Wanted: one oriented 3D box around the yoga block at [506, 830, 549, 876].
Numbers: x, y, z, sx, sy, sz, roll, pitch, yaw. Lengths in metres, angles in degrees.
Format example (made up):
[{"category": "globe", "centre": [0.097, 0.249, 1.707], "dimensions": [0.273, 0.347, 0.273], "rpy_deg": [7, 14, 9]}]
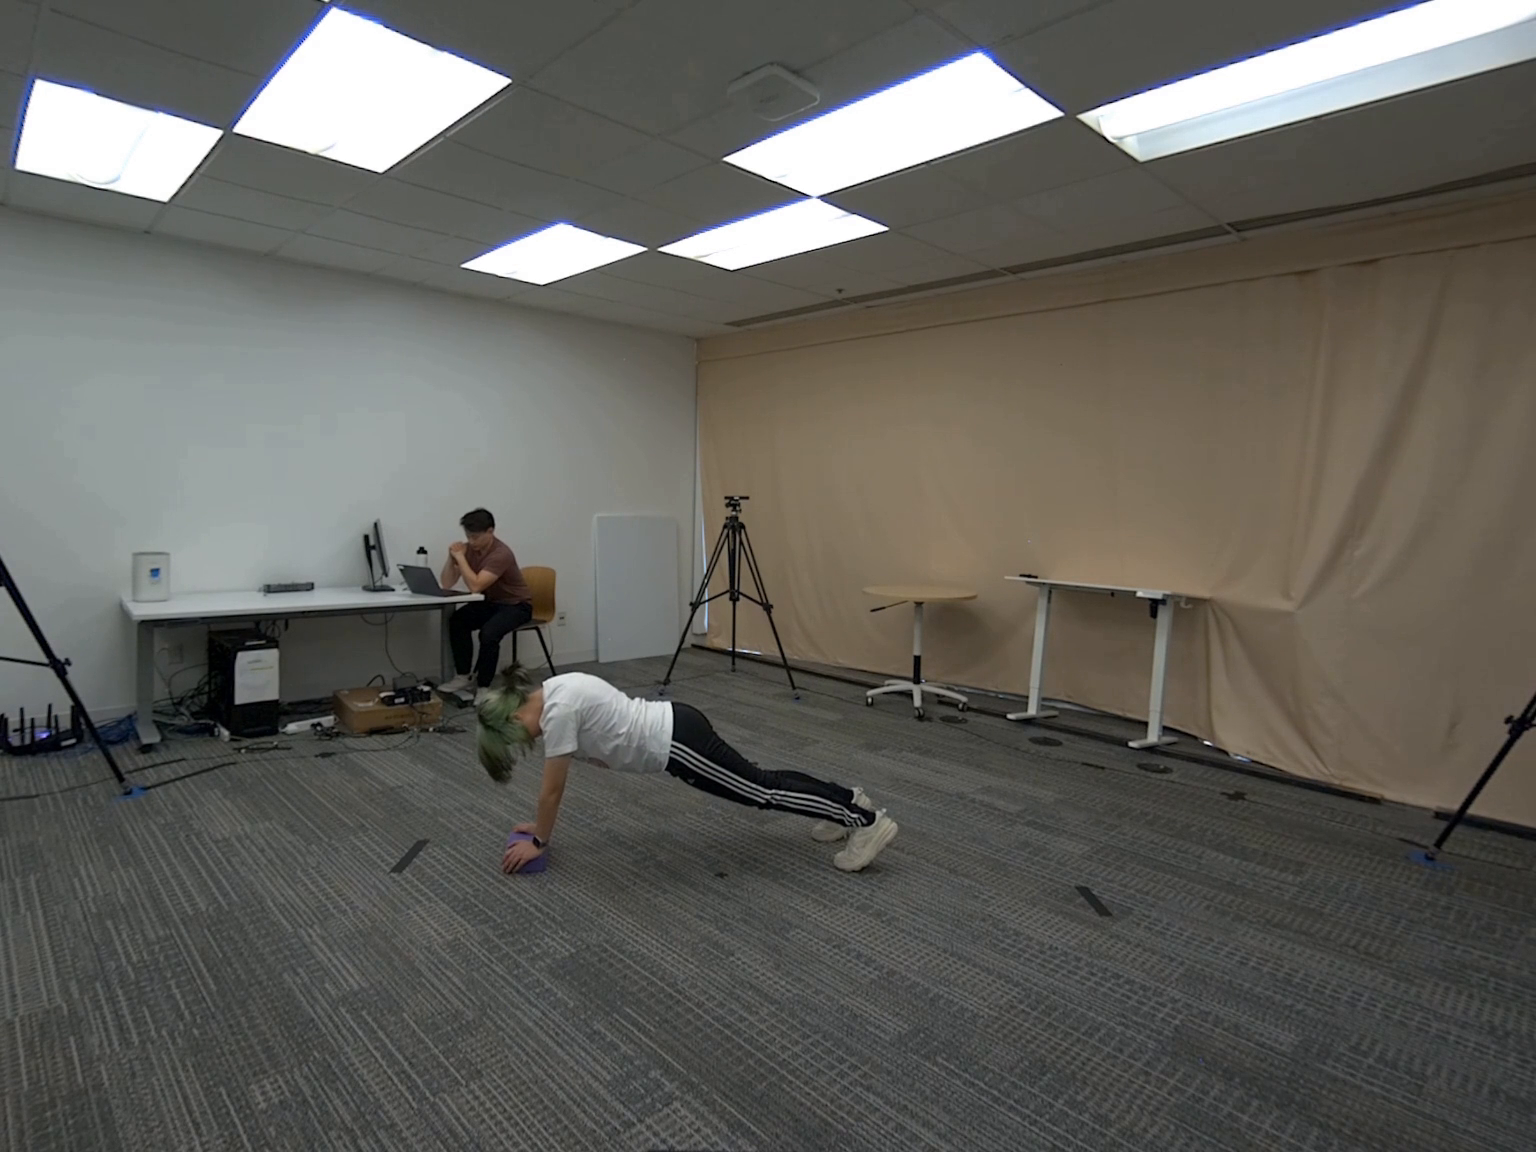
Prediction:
[{"category": "yoga block", "centre": [-0.913, 1.041, 3.196], "dimensions": [0.148, 0.076, 0.232], "rpy_deg": [1, 6, -9]}]
